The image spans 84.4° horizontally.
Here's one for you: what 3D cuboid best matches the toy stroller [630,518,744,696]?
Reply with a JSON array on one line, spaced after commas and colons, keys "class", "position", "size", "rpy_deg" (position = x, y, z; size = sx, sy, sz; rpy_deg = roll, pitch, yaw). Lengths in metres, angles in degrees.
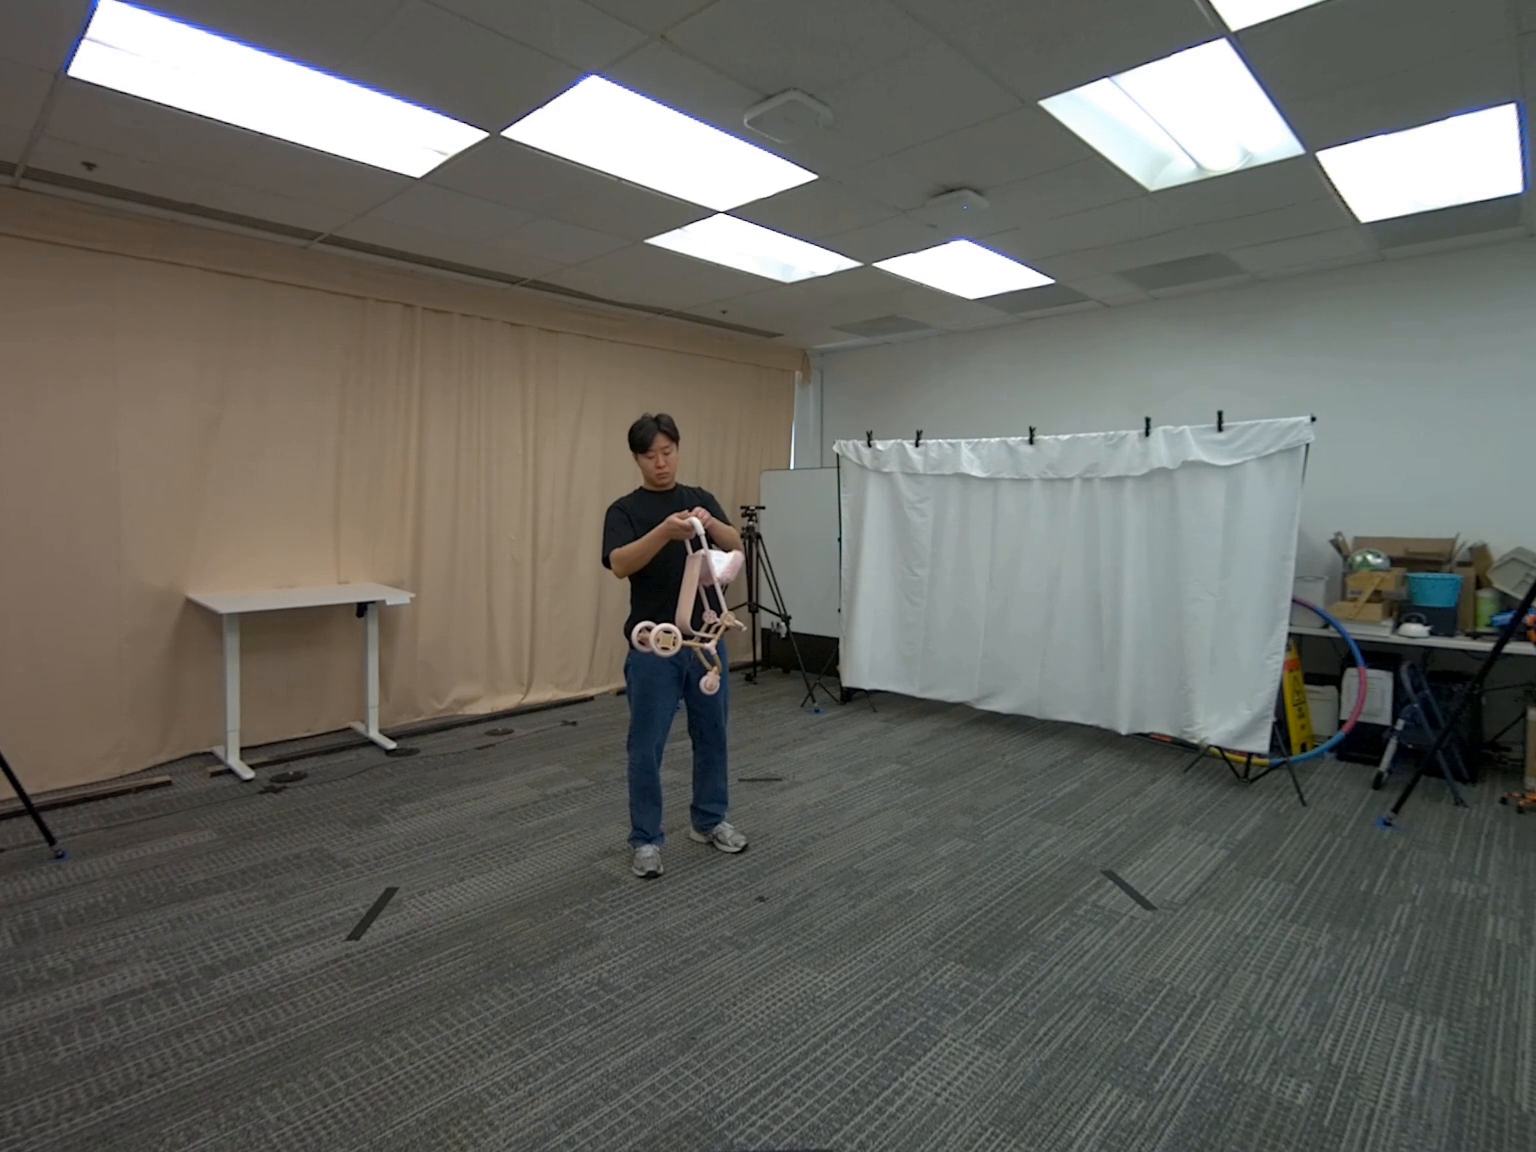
[{"class": "toy stroller", "position": [-0.208, 0.111, 2.921], "size": [0.336, 0.536, 0.285], "rpy_deg": [24, -11, -13]}]
